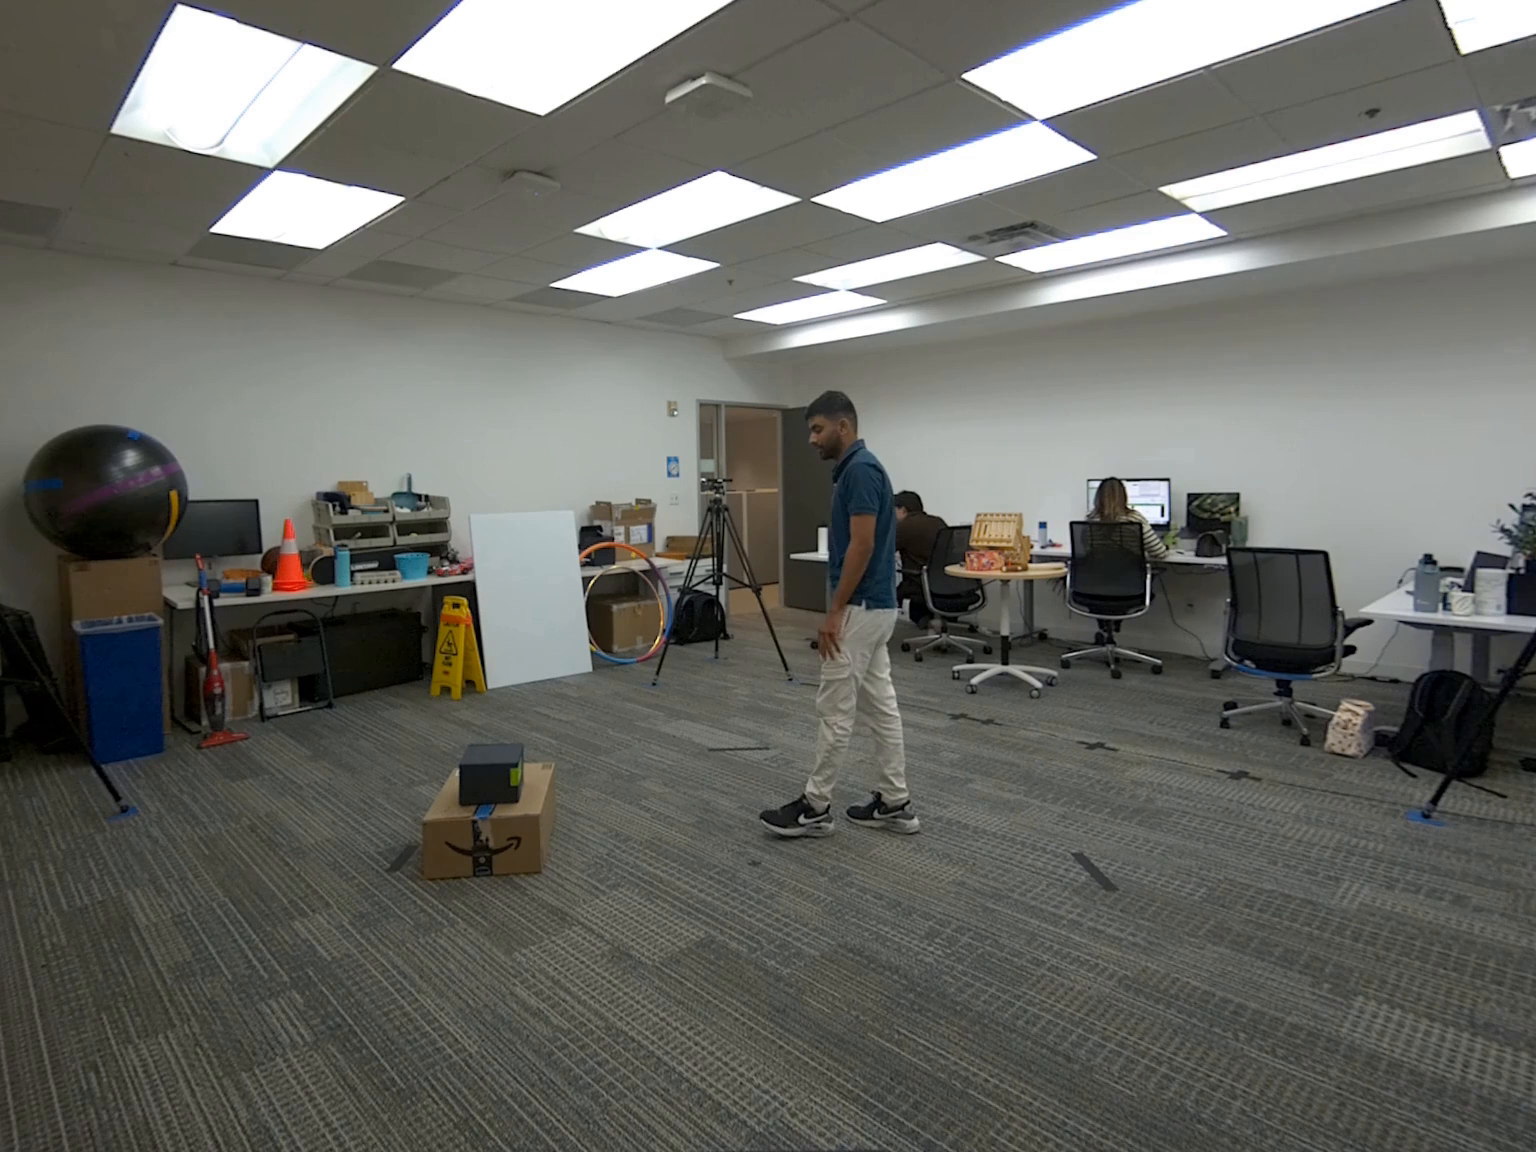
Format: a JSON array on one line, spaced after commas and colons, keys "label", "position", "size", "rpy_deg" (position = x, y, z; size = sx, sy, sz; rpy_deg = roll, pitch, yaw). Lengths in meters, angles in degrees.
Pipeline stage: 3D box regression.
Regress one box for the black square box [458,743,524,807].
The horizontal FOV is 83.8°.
[{"label": "black square box", "position": [-1.046, 0.747, 3.256], "size": [0.215, 0.155, 0.231], "rpy_deg": [-1, 6, -10]}]
